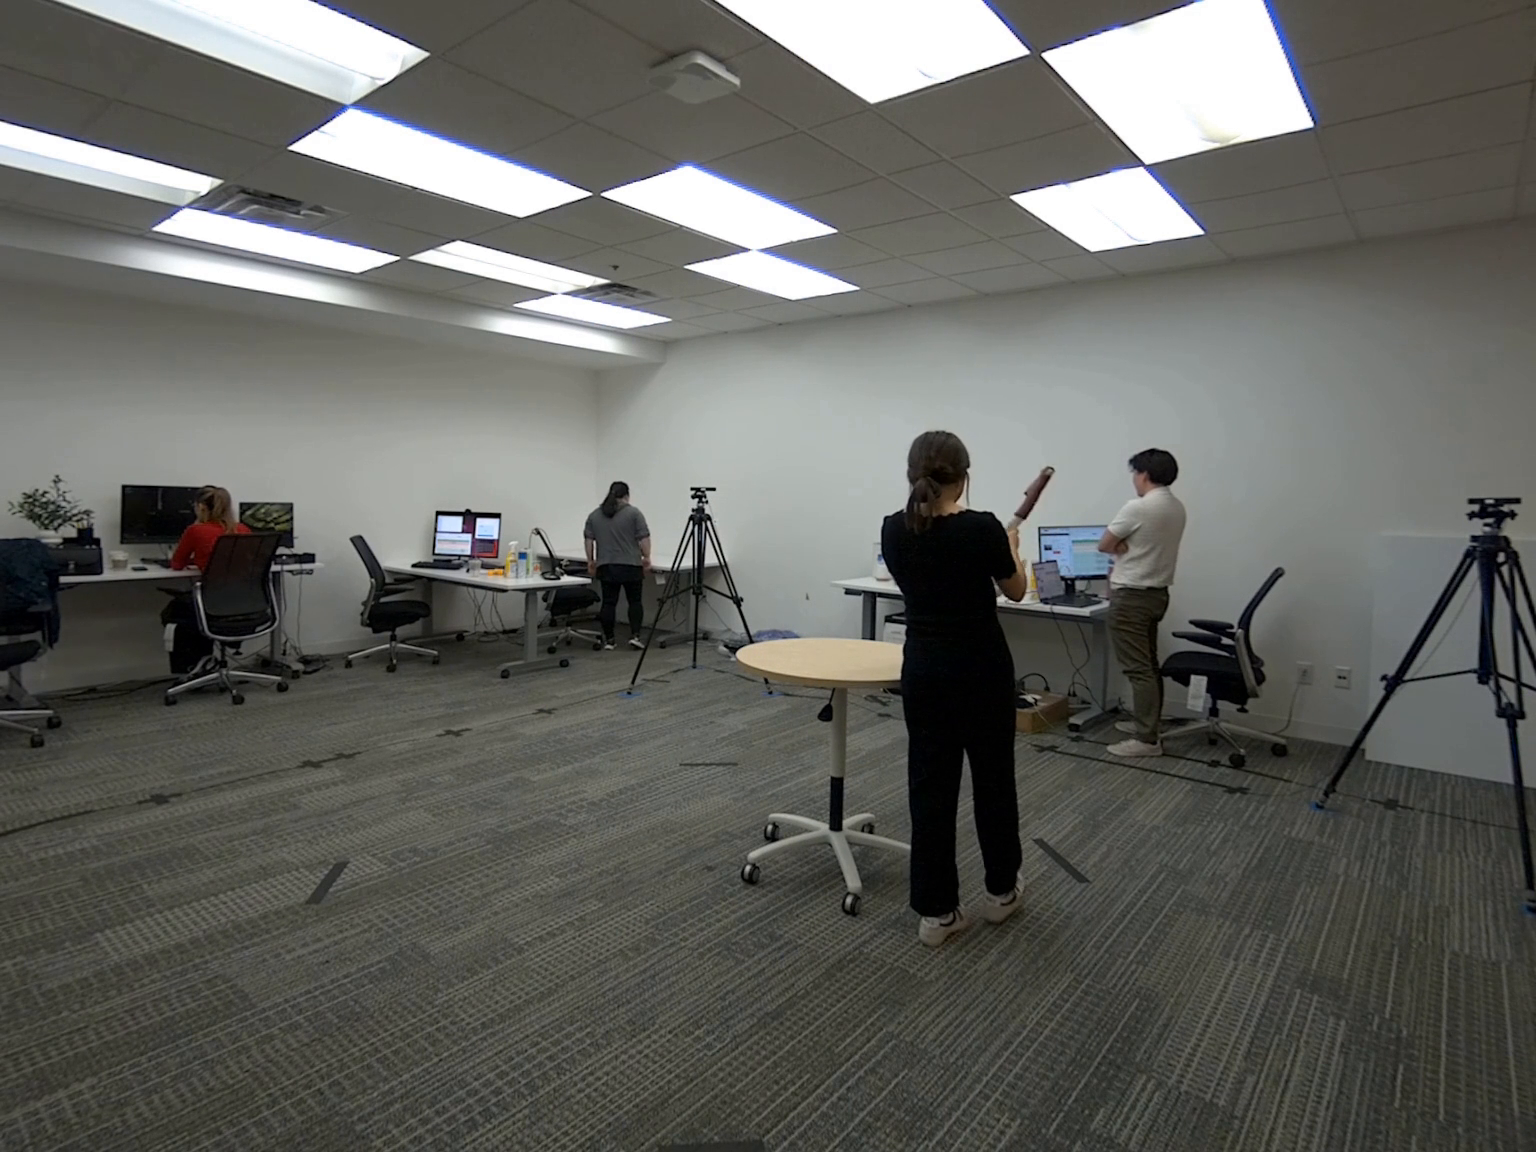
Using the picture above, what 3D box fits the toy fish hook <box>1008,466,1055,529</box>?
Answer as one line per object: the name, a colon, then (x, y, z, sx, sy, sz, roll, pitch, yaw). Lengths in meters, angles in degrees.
toy fish hook: (0.862, -0.130, 2.917, 0.046, 0.505, 0.233, 25, 11, -33)
